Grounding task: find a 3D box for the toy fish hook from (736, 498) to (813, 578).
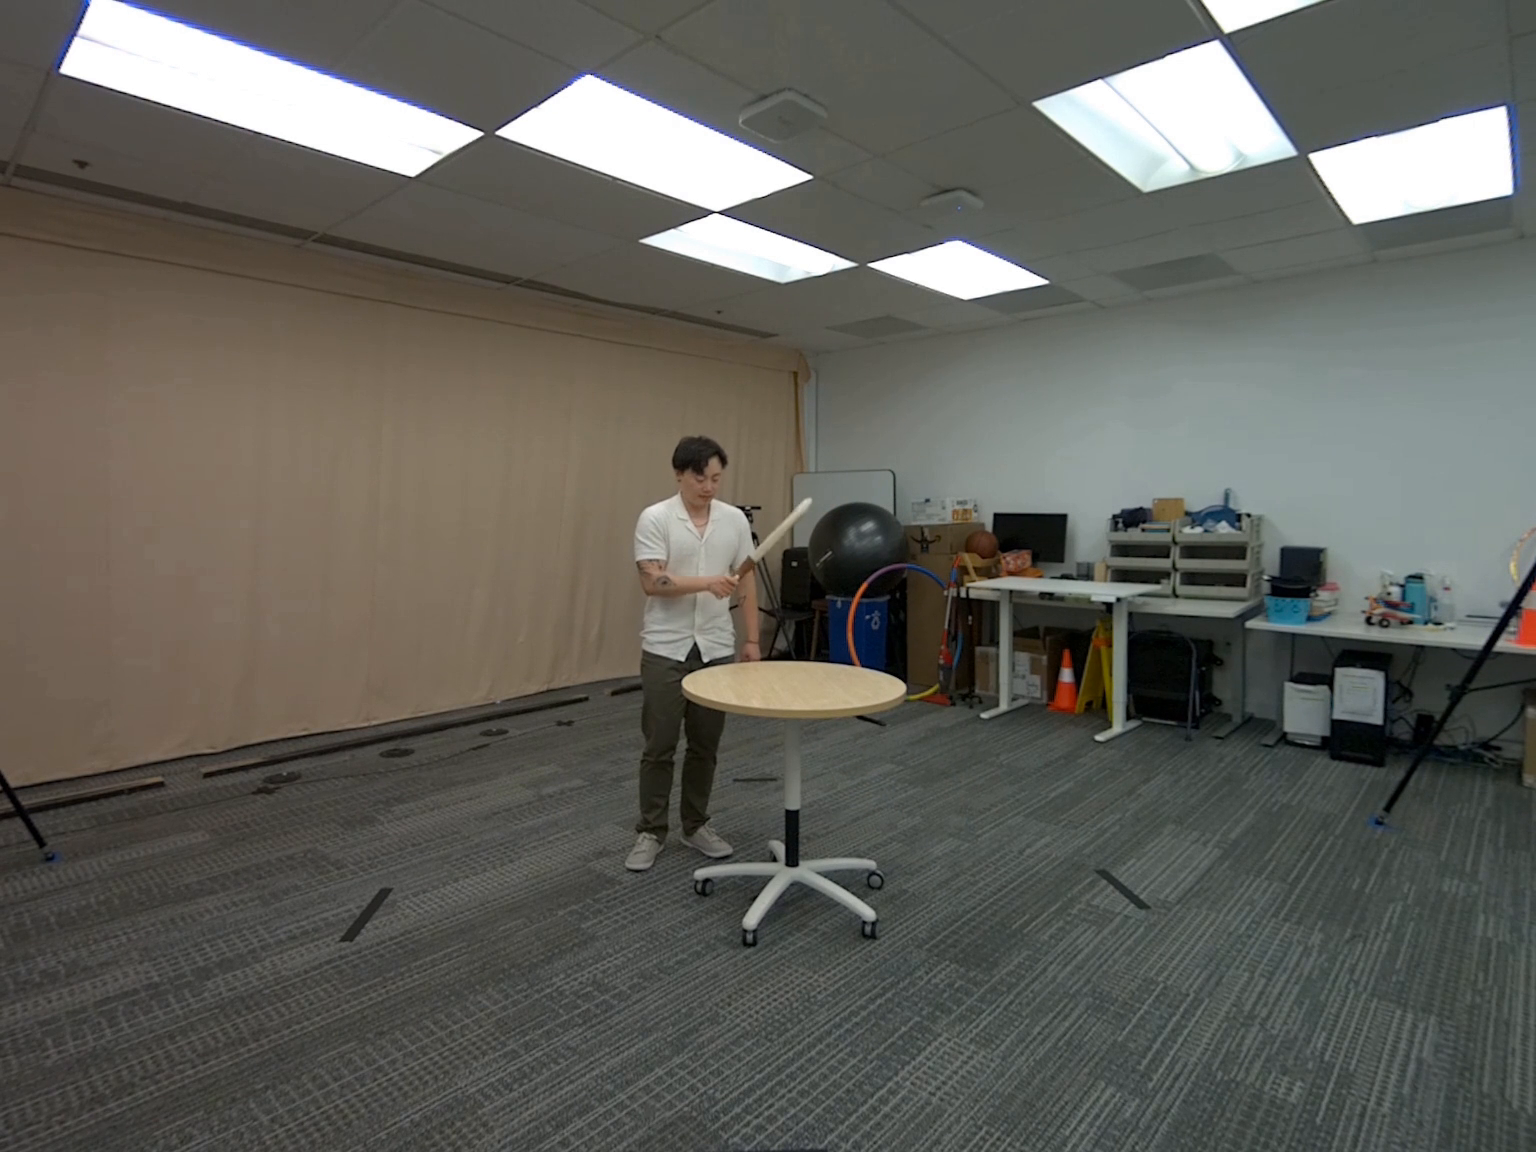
[{"bbox_3d":[-0.014,-0.099,3.181,0.048,0.508,0.223,45,9,2],"label":"toy fish hook"}]
